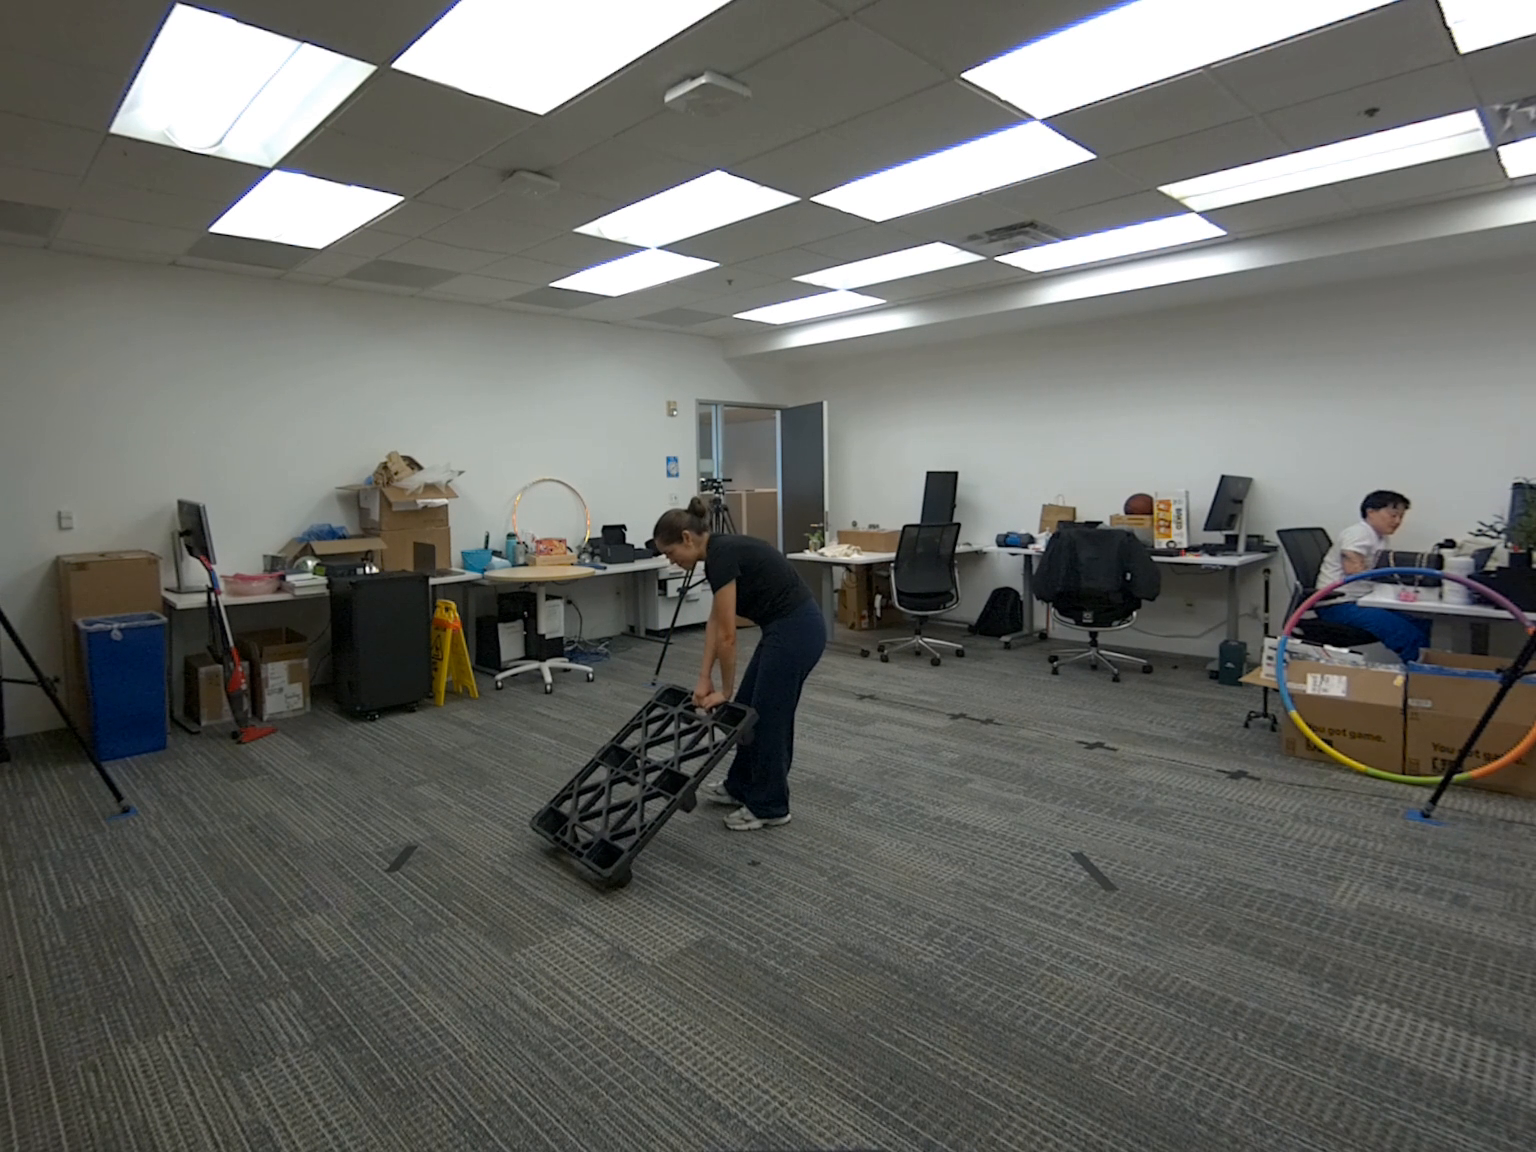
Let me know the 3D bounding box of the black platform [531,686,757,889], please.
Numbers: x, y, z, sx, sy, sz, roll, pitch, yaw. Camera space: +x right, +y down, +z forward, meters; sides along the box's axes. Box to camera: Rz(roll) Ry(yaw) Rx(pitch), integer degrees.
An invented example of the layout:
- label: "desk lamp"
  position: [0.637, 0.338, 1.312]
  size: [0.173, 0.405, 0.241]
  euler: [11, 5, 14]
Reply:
- label: "black platform"
  position: [-0.456, 0.771, 3.275]
  size: [0.624, 0.139, 0.804]
  euler: [6, 44, 48]
